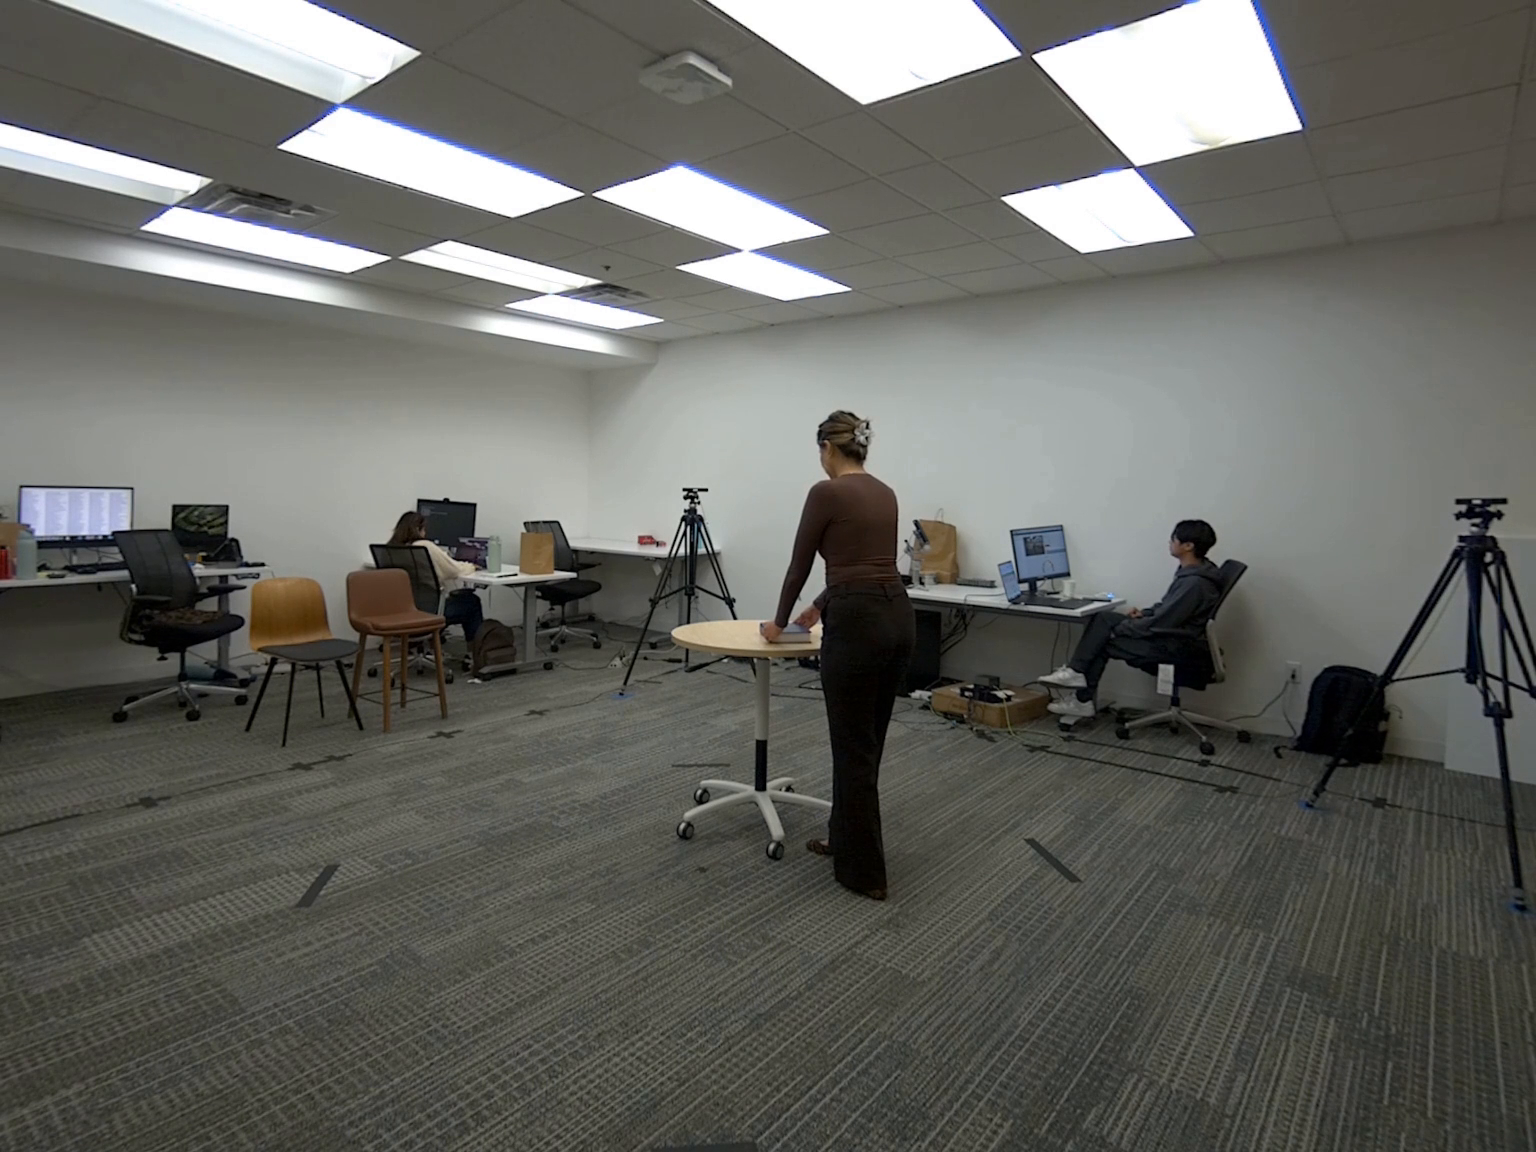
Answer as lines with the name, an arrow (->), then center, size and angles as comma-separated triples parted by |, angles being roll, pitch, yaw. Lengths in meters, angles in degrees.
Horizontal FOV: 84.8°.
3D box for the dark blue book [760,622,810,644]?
dark blue book -> 0.057, 0.231, 3.417 | 0.162, 0.045, 0.248 | 1, 6, -8
